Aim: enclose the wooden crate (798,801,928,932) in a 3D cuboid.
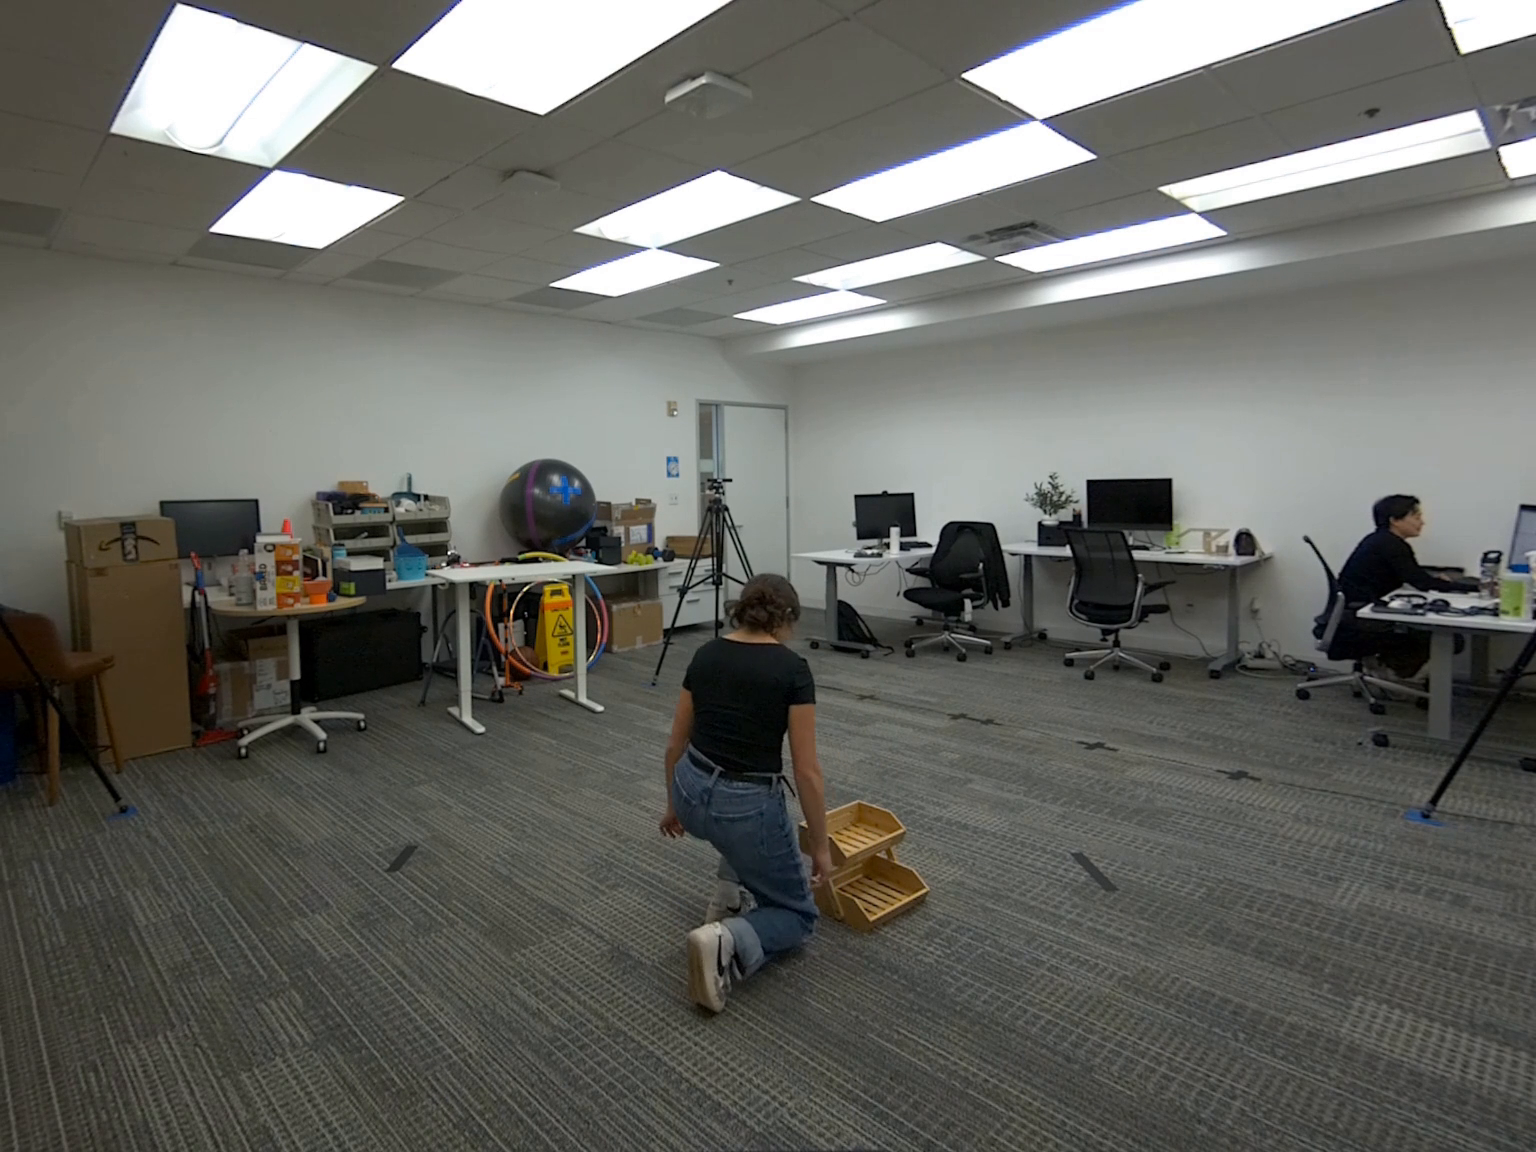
[{"bbox_3d":[0.322,0.941,2.804,0.316,0.272,0.311,-6,7,-42],"label":"wooden crate"}]
